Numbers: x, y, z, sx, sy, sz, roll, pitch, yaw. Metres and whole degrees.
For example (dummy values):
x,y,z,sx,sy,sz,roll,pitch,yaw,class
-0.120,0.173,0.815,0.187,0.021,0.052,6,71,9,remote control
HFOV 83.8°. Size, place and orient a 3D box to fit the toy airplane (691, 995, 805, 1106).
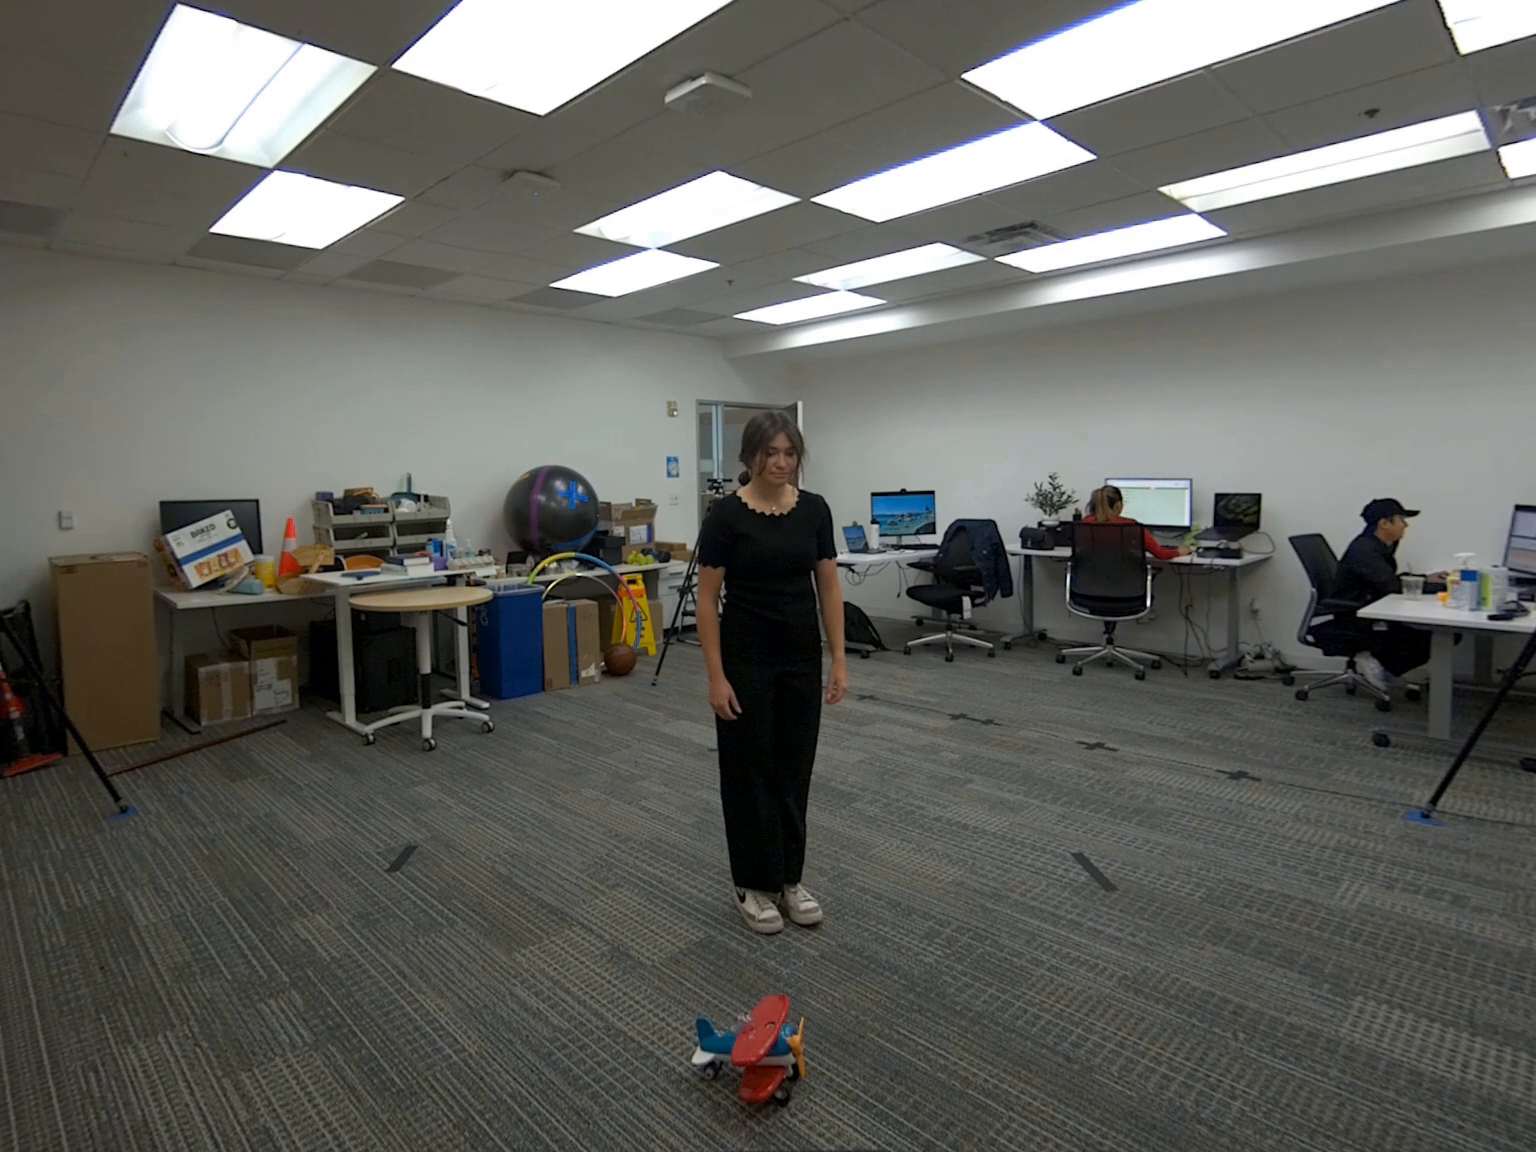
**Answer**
x,y,z,sx,sy,sz,roll,pitch,yaw,class
-0.040,1.116,1.957,0.257,0.156,0.254,-1,6,-8,toy airplane
